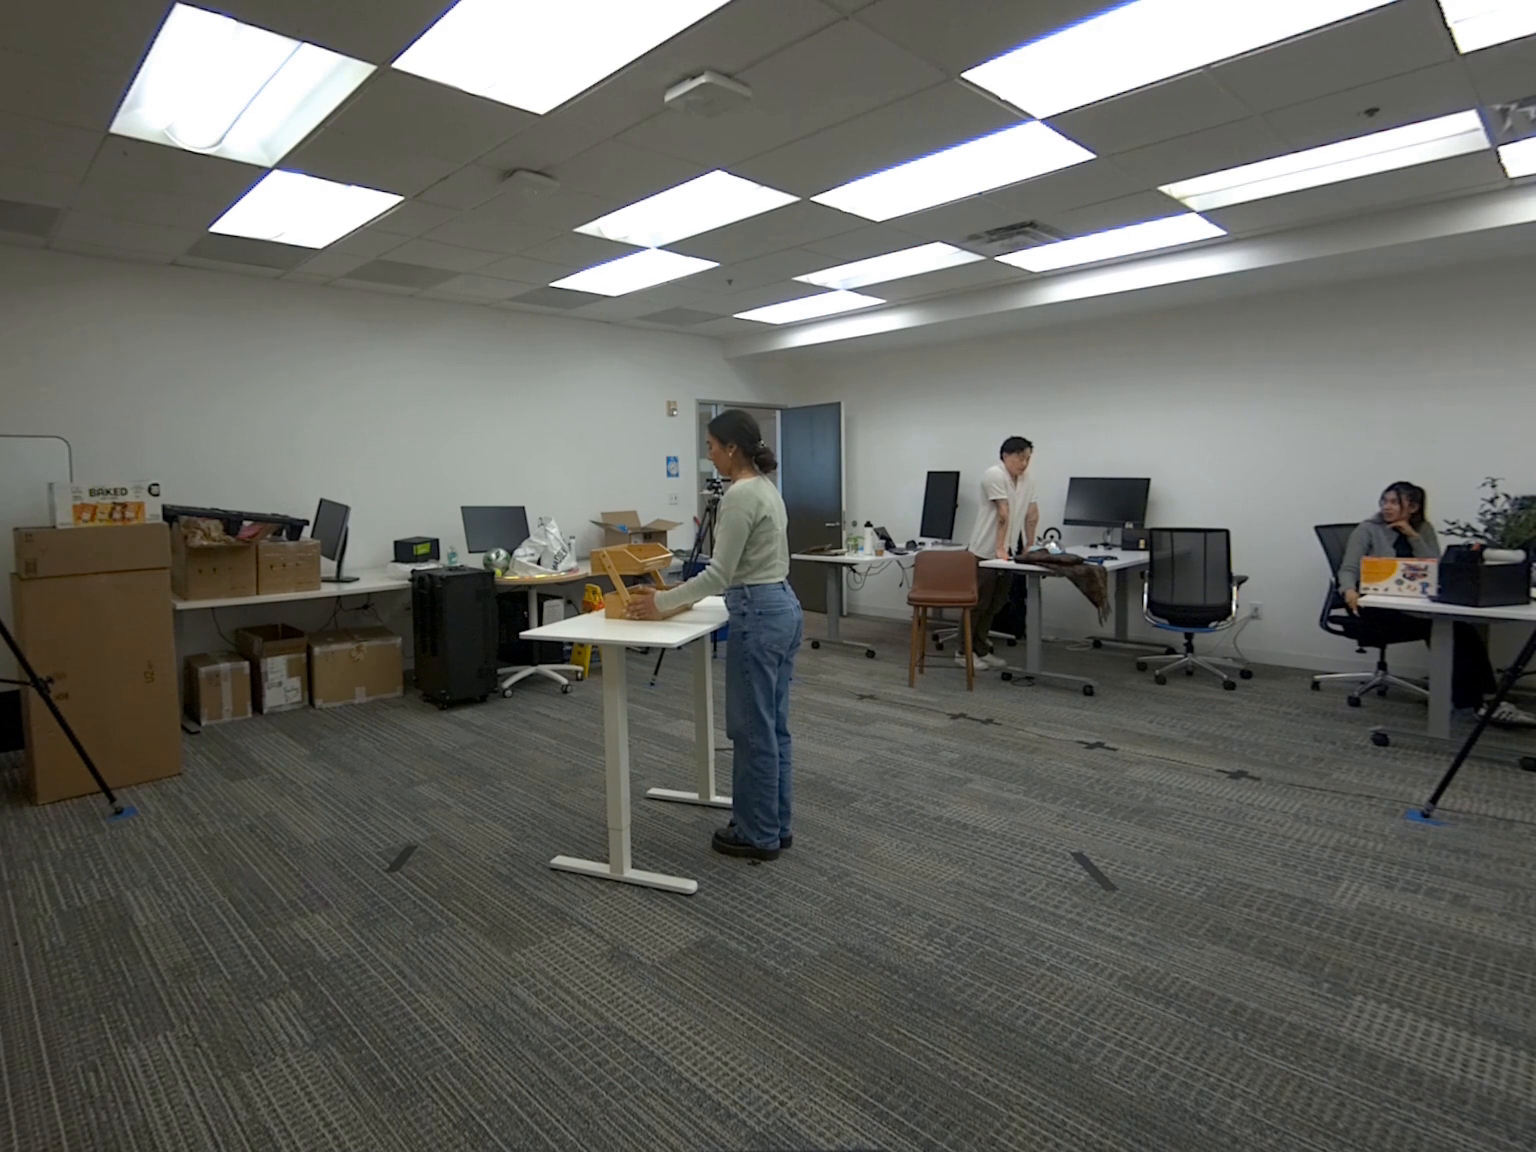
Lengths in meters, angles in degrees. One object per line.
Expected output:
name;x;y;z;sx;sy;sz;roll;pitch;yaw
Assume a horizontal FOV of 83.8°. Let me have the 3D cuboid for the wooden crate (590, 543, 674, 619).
wooden crate;-0.467;0.011;3.317;0.308;0.272;0.320;-1;5;20
